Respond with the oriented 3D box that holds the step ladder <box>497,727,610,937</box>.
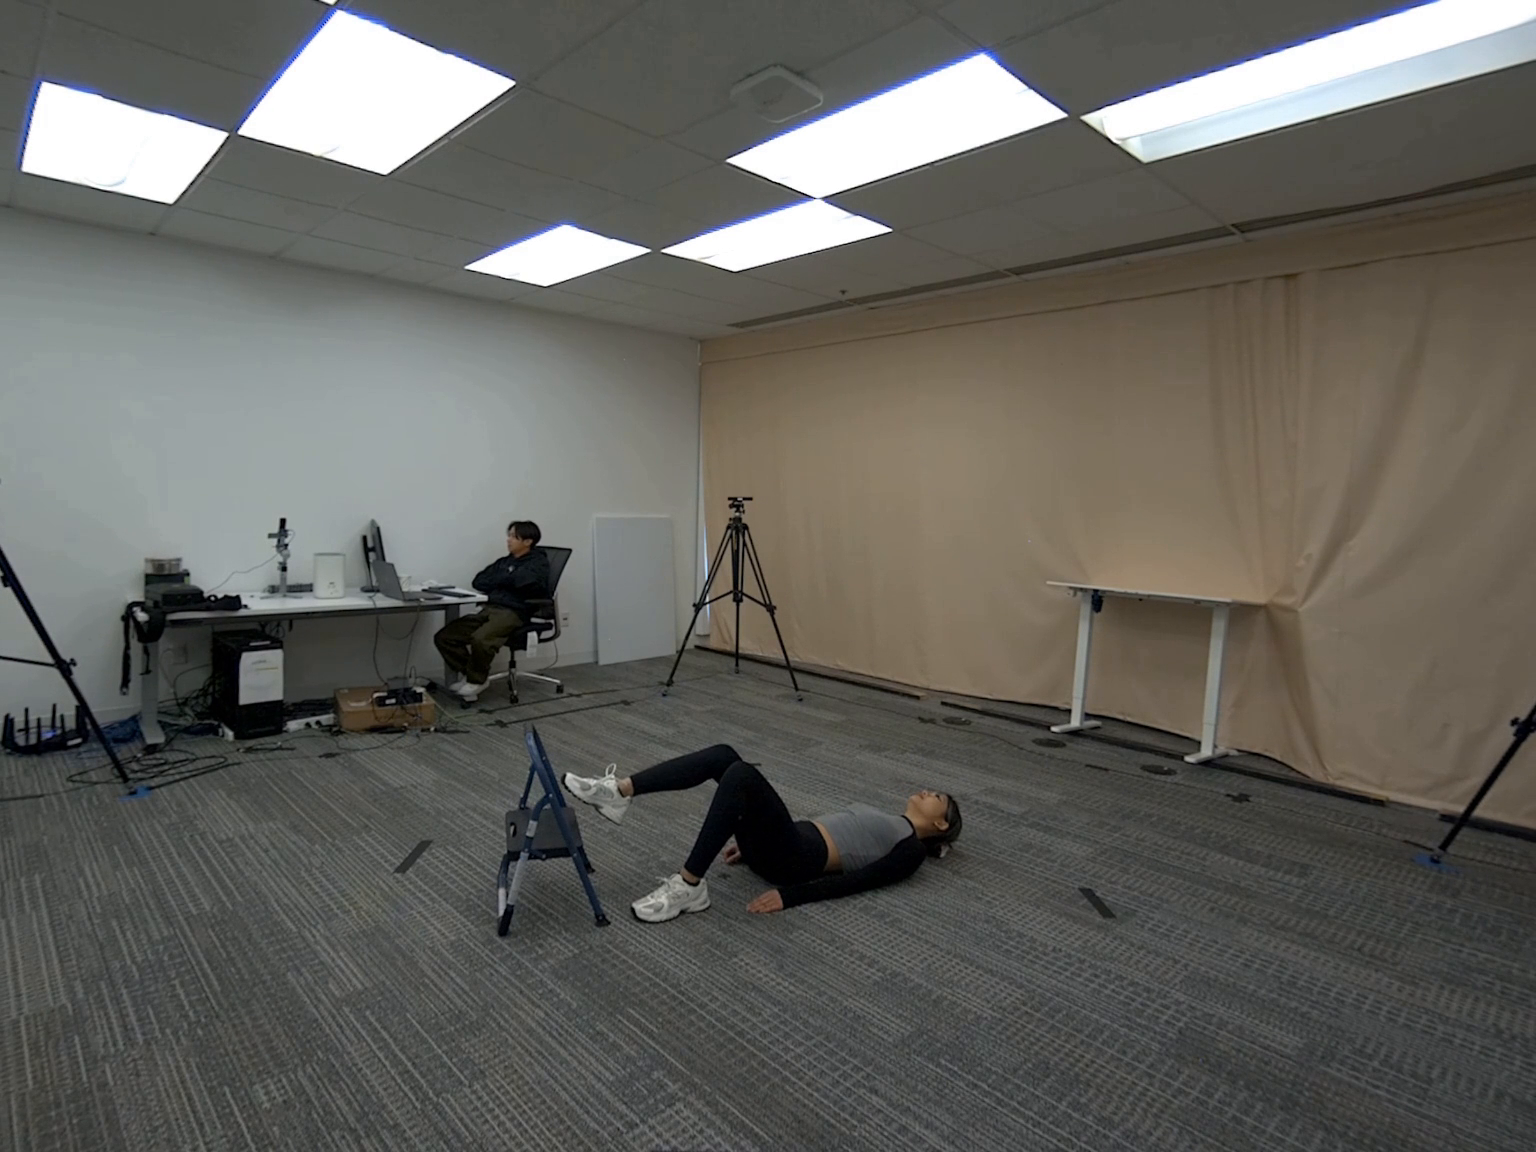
[{"bbox_3d":[-0.743,0.816,2.861,0.344,0.604,0.438,0,4,-19],"label":"step ladder"}]
